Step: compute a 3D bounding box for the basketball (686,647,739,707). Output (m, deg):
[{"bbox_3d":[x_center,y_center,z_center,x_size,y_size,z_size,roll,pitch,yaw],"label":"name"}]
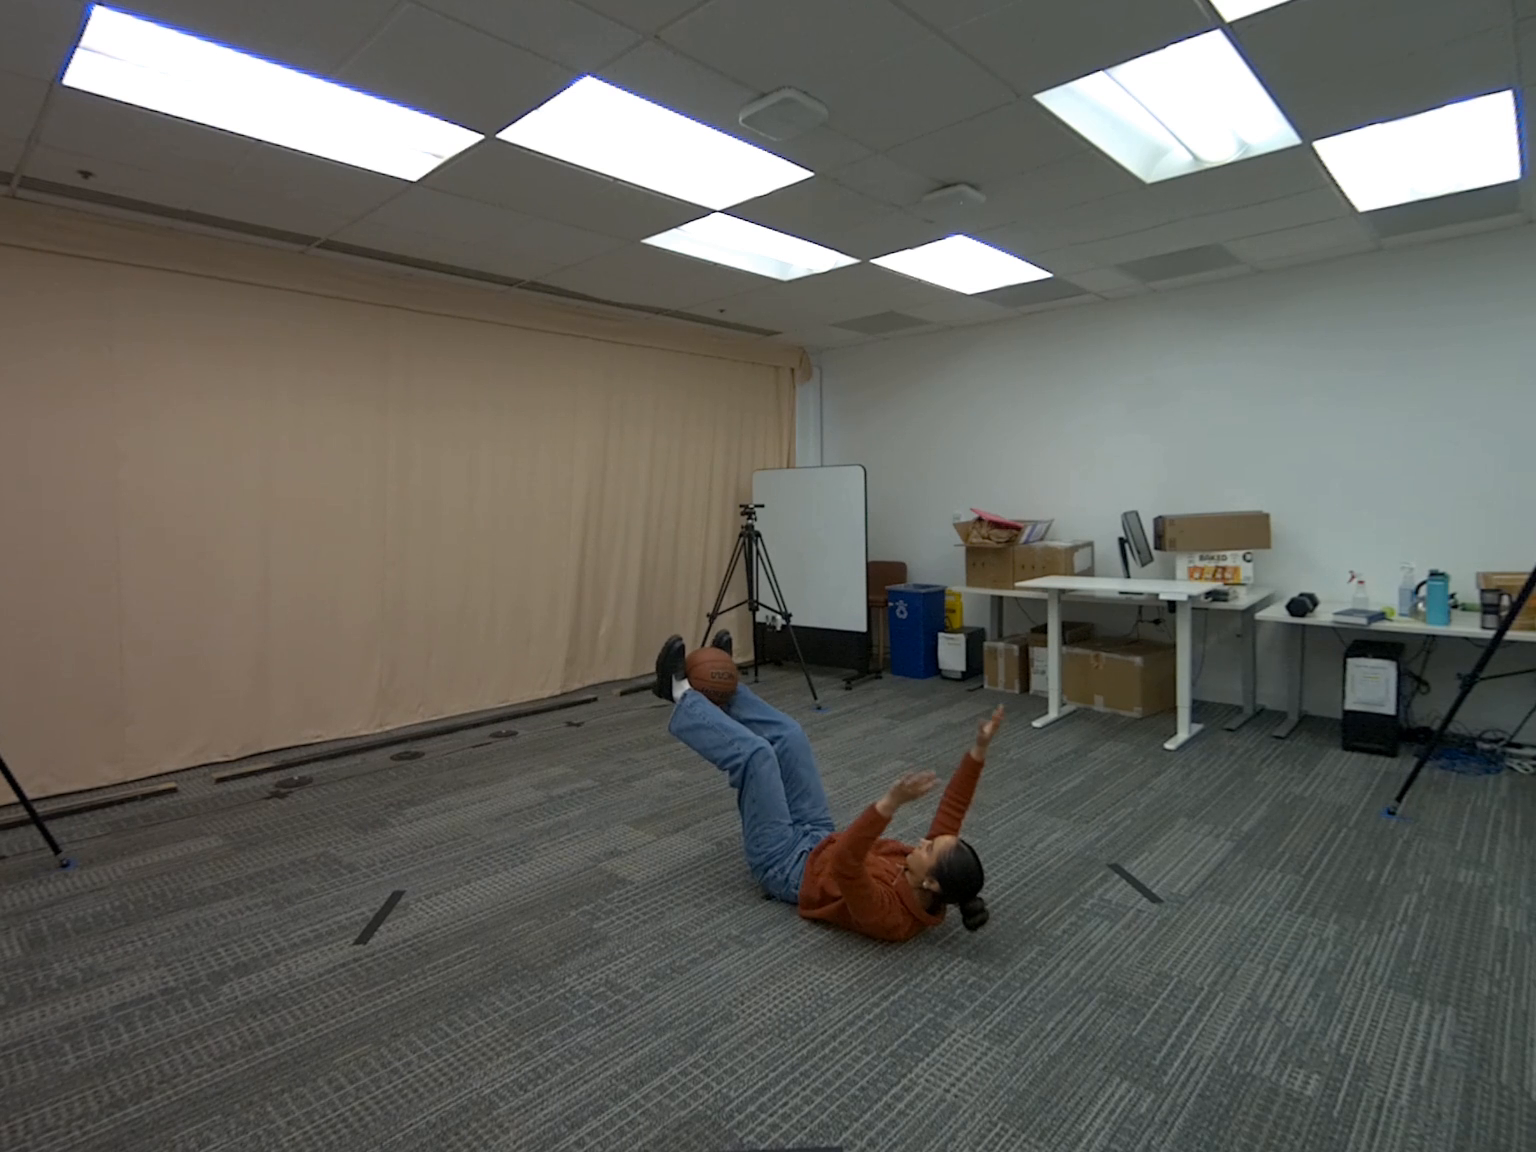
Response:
[{"bbox_3d":[-0.238,0.398,3.304,0.235,0.235,0.237,2,5,-2],"label":"basketball"}]
